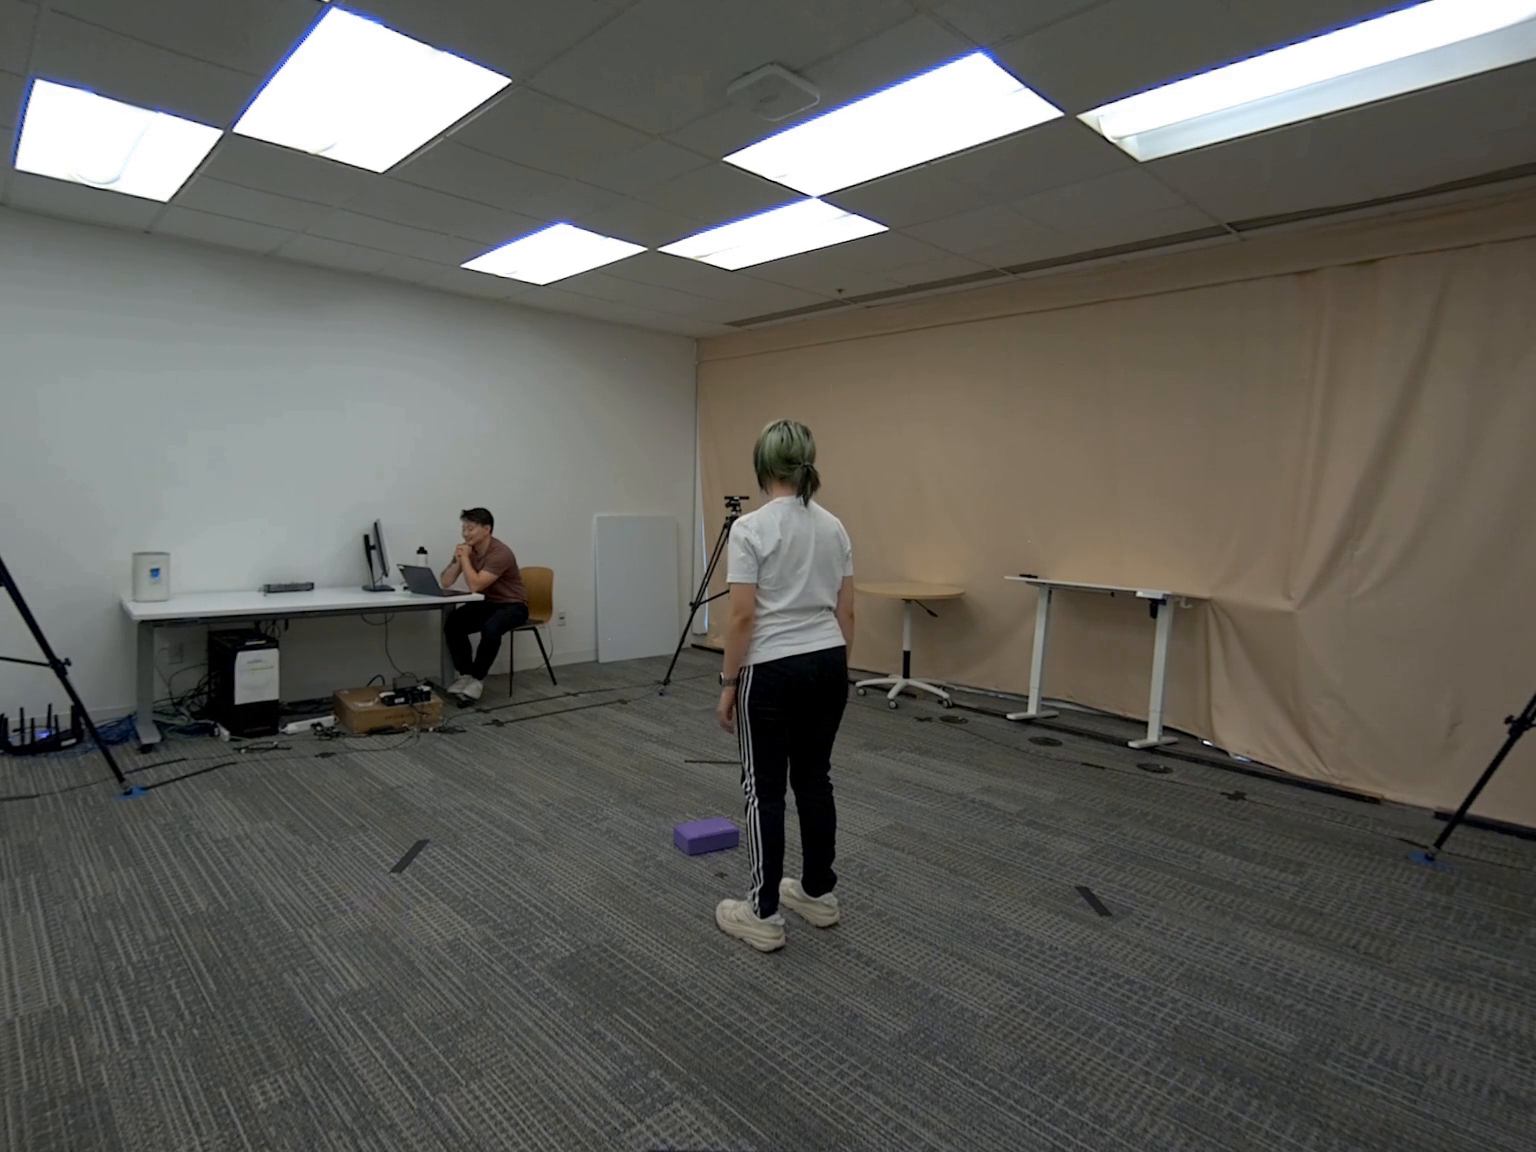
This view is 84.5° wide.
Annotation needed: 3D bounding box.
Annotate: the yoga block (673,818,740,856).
[{"bbox_3d":[-0.254,1.040,3.369,0.225,0.076,0.152,-2,5,-30],"label":"yoga block"}]
